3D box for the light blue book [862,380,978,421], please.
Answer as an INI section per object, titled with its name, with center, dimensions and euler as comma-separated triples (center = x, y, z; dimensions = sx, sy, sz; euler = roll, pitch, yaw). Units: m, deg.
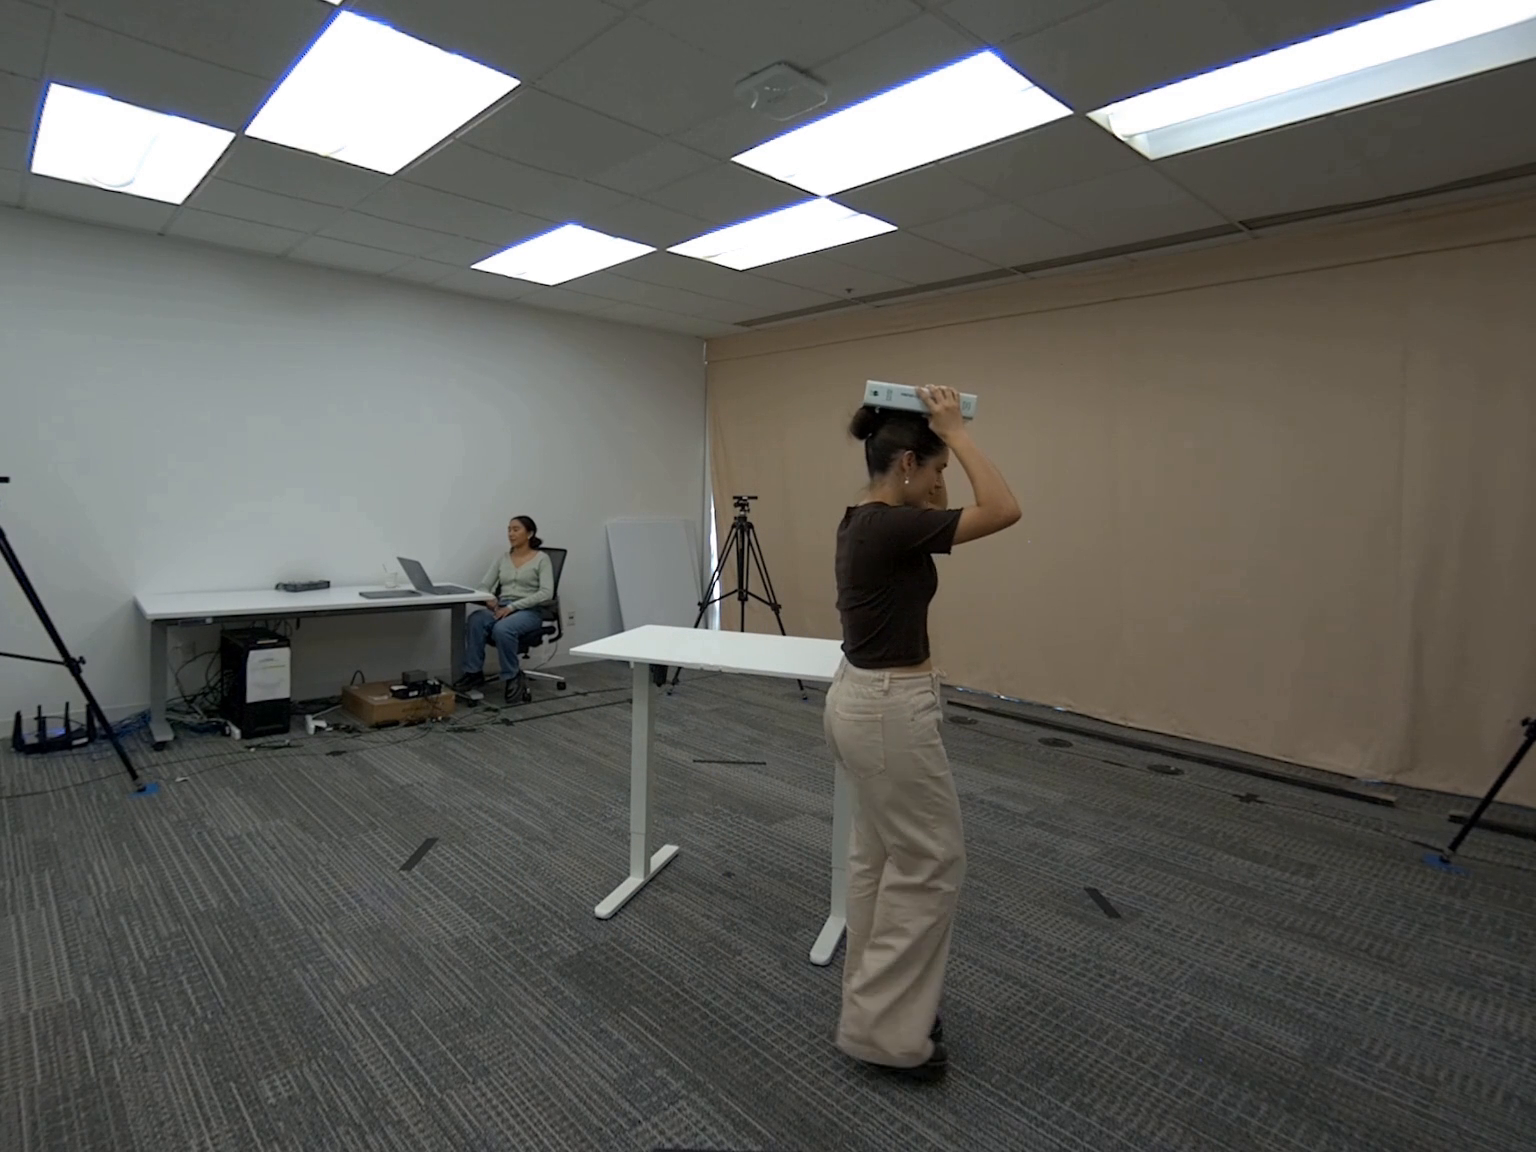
[light blue book]
center = 0.362, -0.426, 2.095
dimensions = 0.262, 0.059, 0.191
euler = 10, 6, 5
